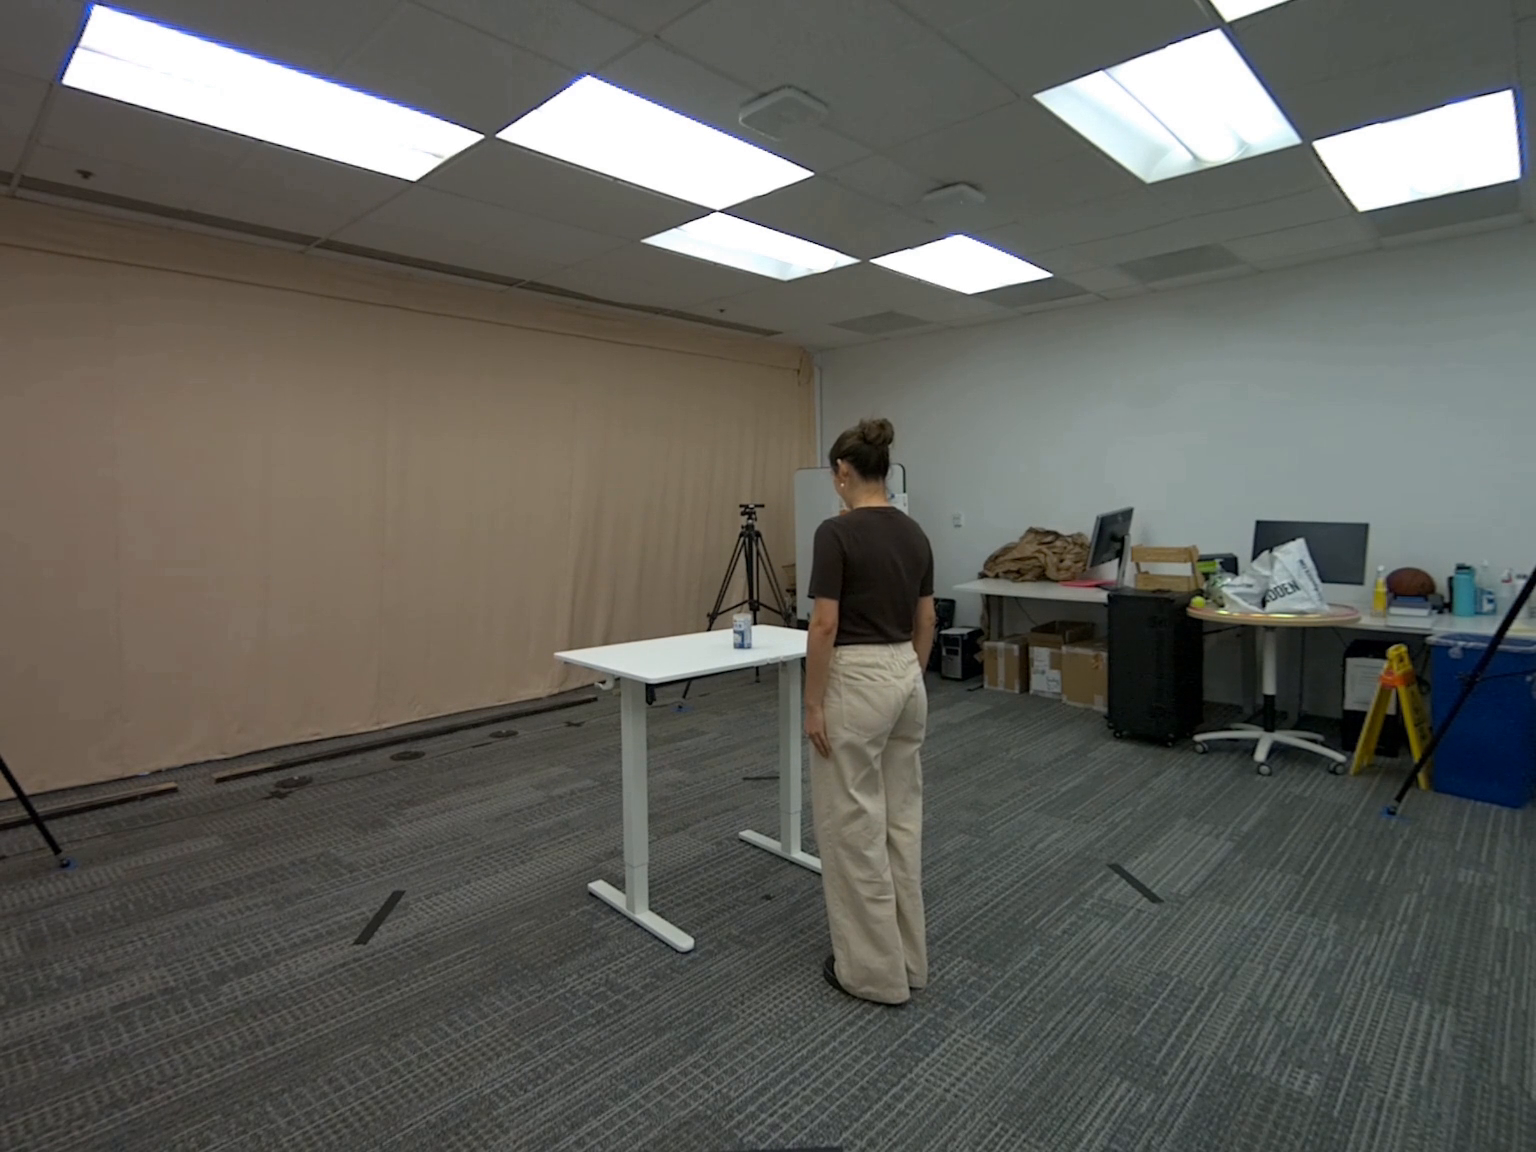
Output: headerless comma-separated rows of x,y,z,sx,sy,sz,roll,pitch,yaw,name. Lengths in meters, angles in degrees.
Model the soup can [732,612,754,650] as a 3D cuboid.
-0.083,0.198,2.993,0.067,0.121,0.067,-2,4,-2,soup can
